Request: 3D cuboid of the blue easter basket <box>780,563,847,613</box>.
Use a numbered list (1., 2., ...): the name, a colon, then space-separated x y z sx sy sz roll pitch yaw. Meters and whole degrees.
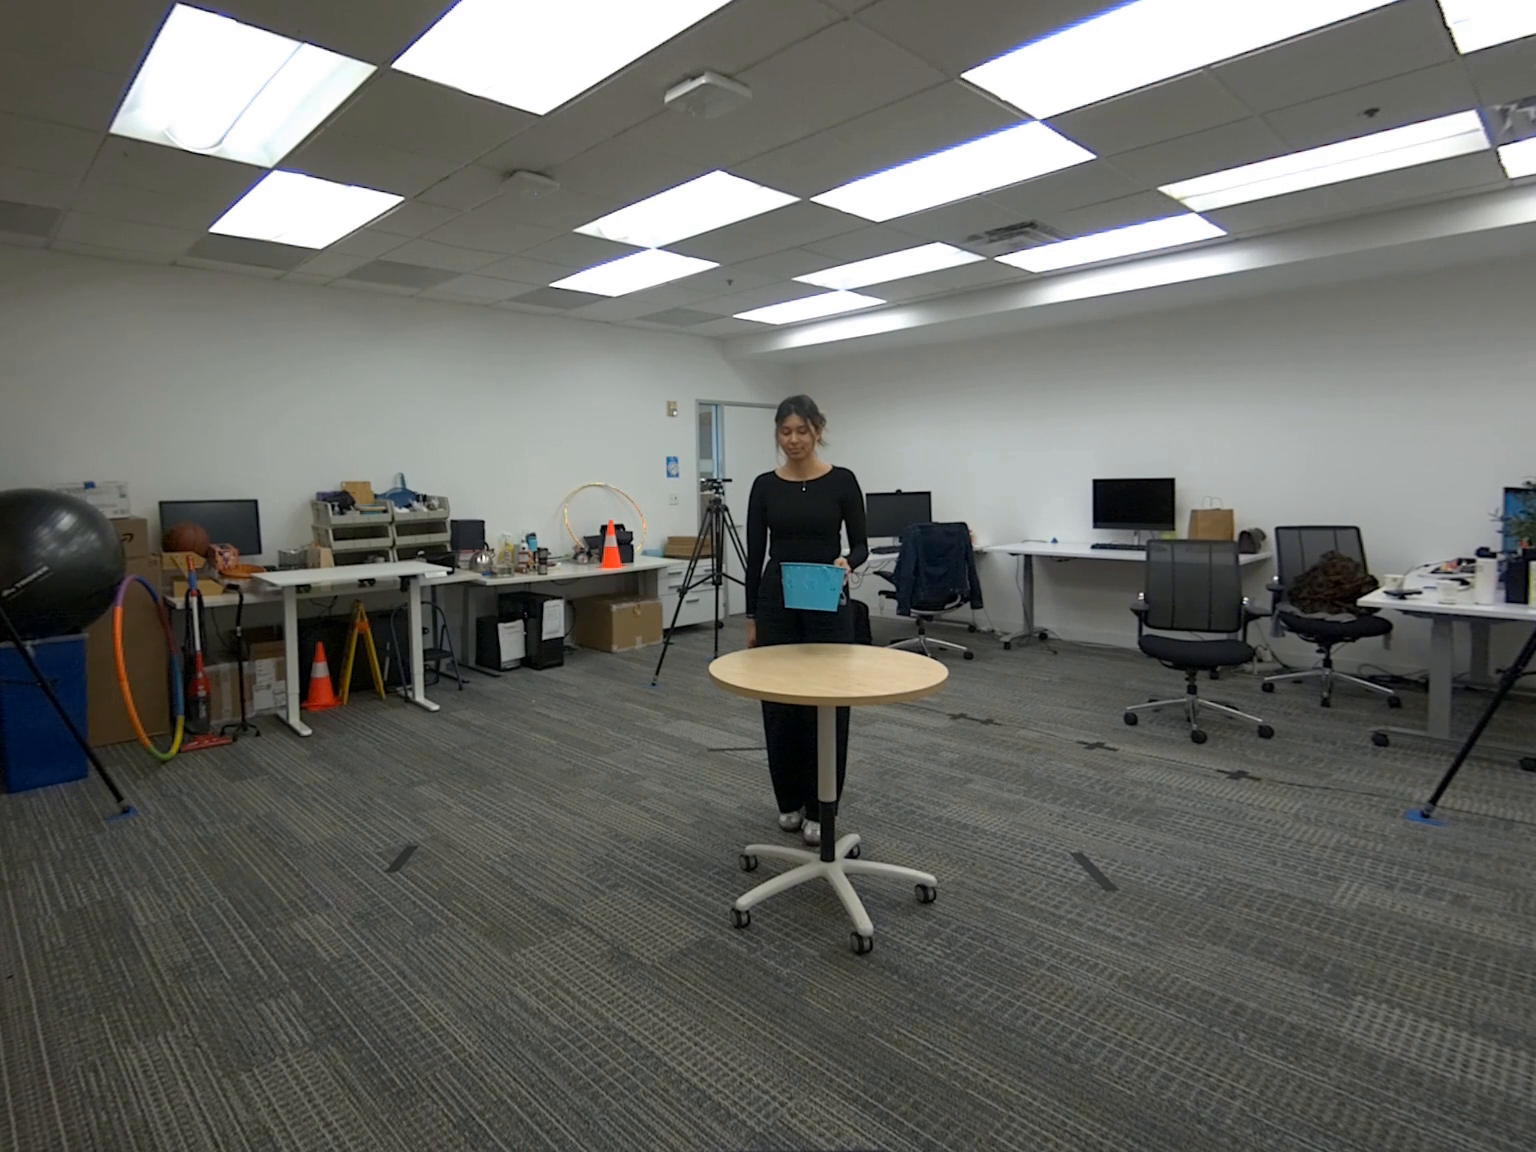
1. blue easter basket: 0.167 0.040 2.989 0.243 0.156 0.243 3 0 -2
